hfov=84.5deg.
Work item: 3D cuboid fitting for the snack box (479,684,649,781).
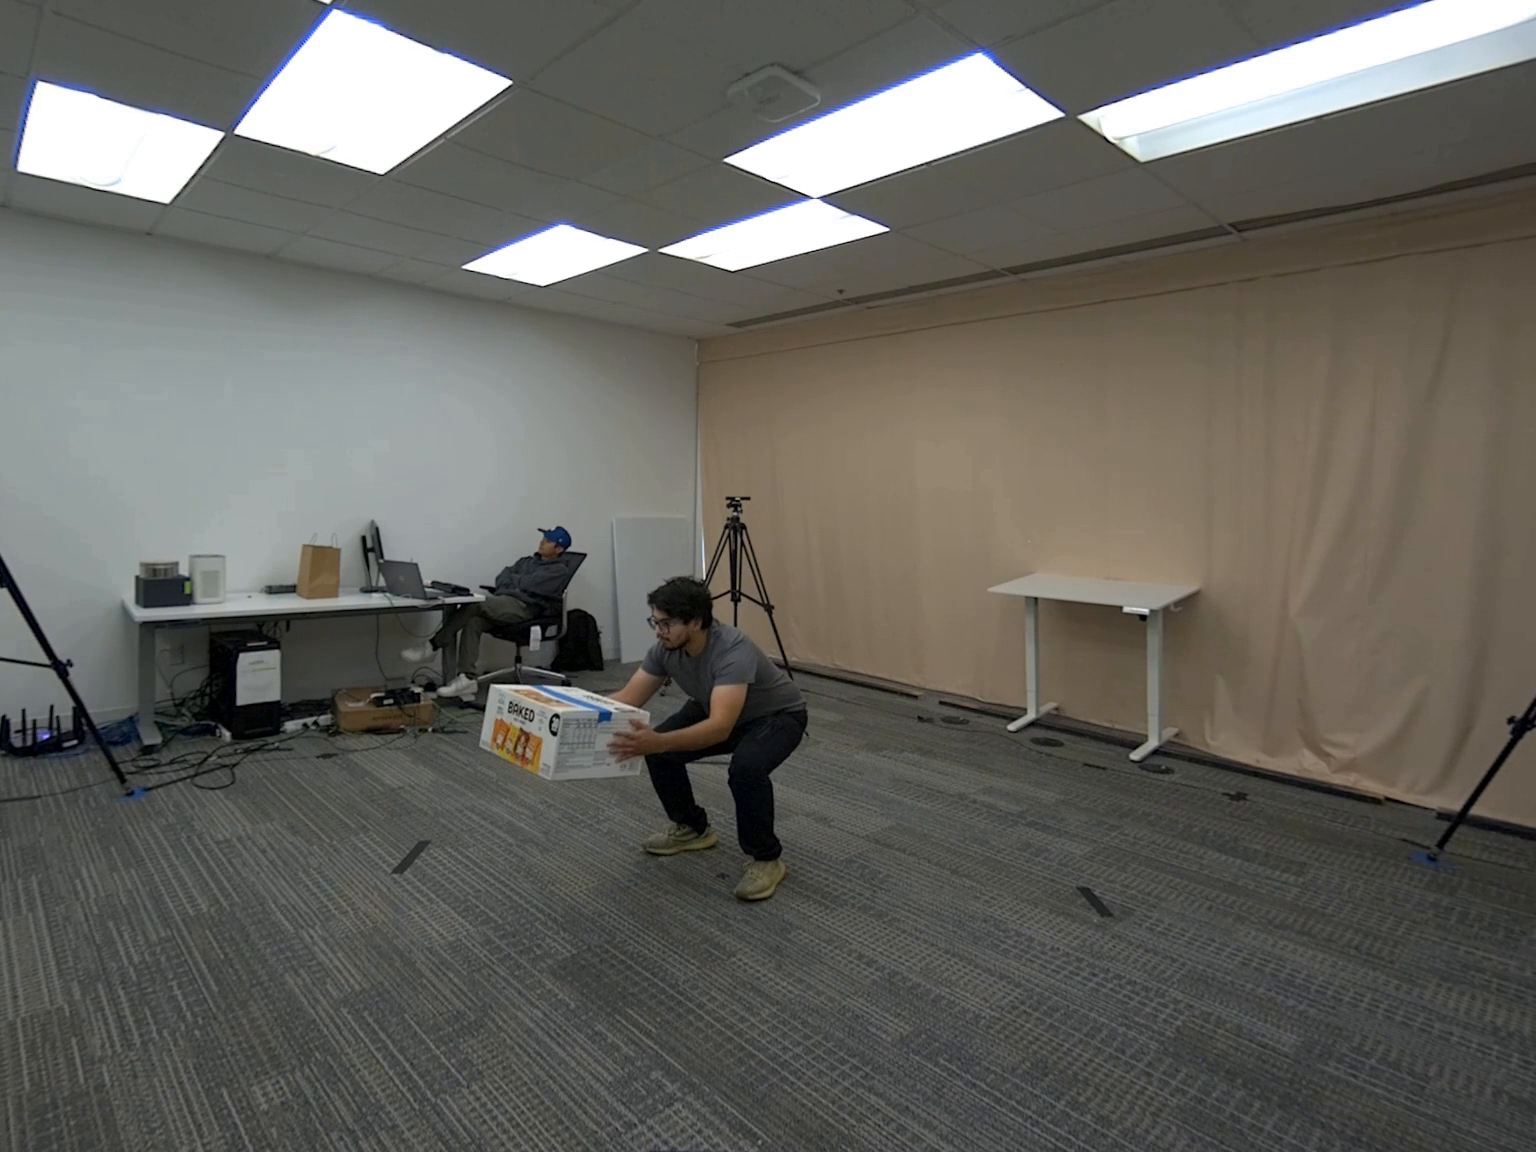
[{"bbox_3d":[-0.650,0.490,2.669,0.416,0.206,0.331,8,-2,43],"label":"snack box"}]
